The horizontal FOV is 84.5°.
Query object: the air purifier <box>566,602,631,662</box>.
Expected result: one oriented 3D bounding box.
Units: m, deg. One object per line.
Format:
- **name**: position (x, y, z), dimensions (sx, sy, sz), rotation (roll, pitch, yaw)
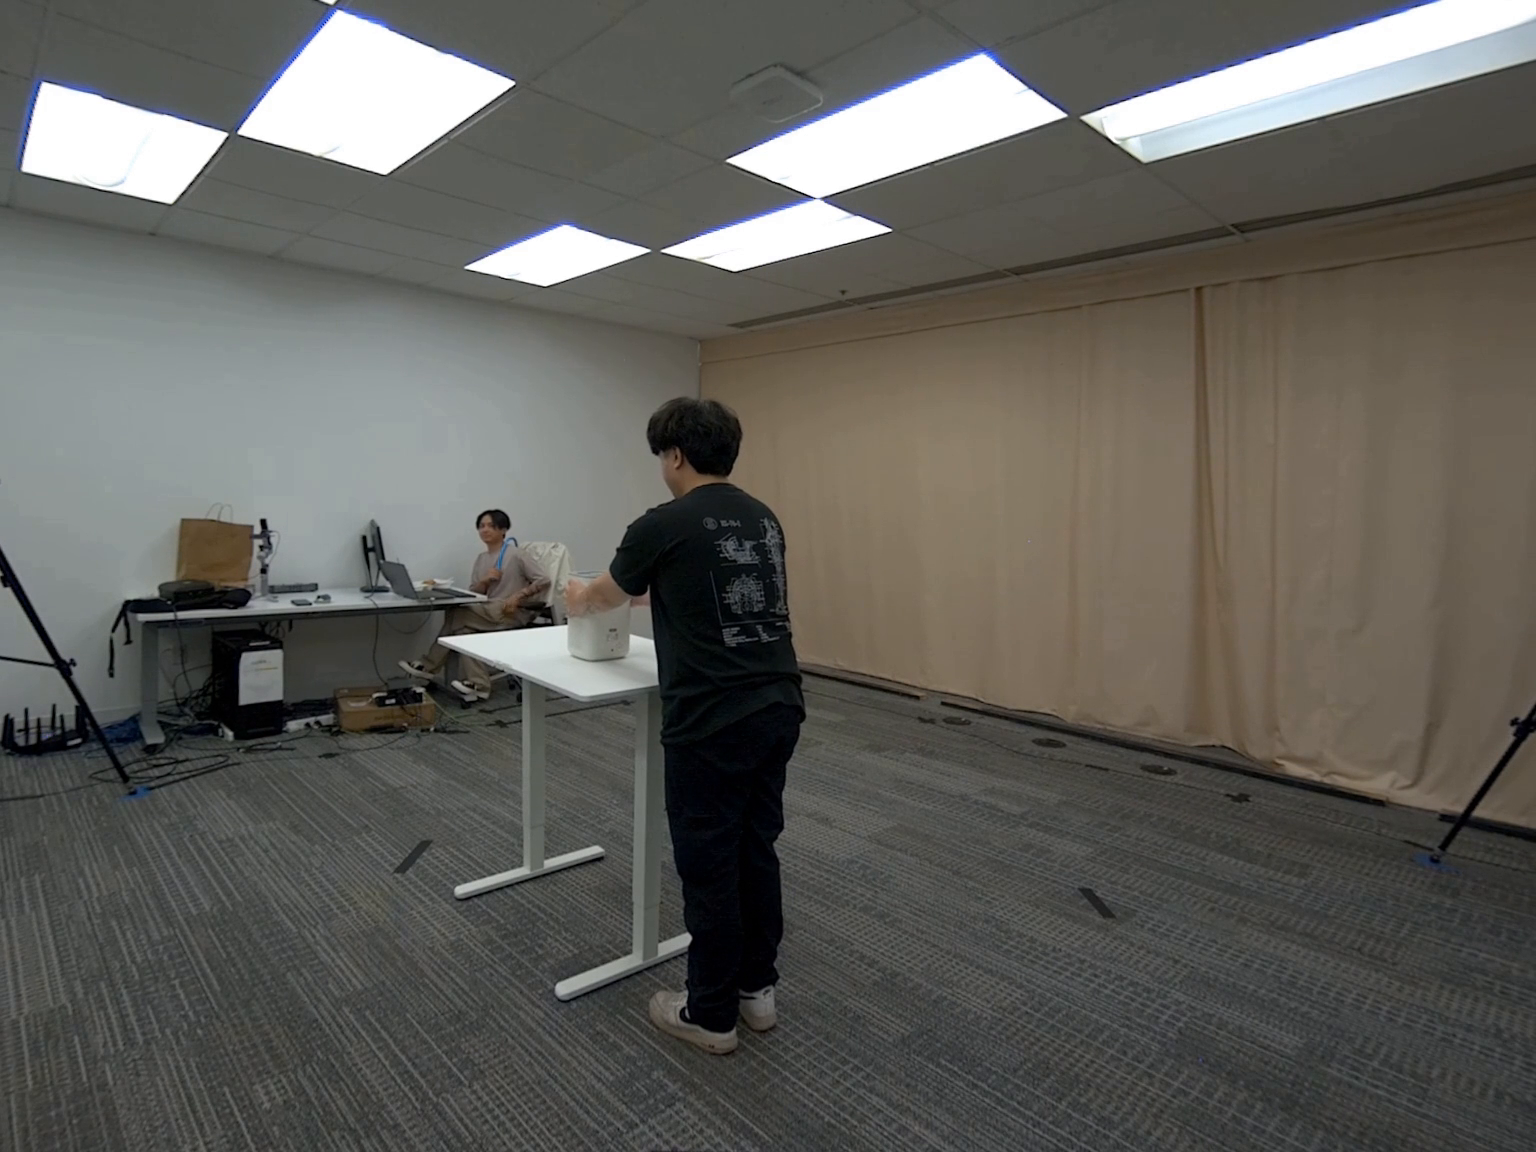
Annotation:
- **air purifier**: position (-0.533, 0.124, 2.661), dimensions (0.167, 0.264, 0.176), rotation (-4, 9, -43)
